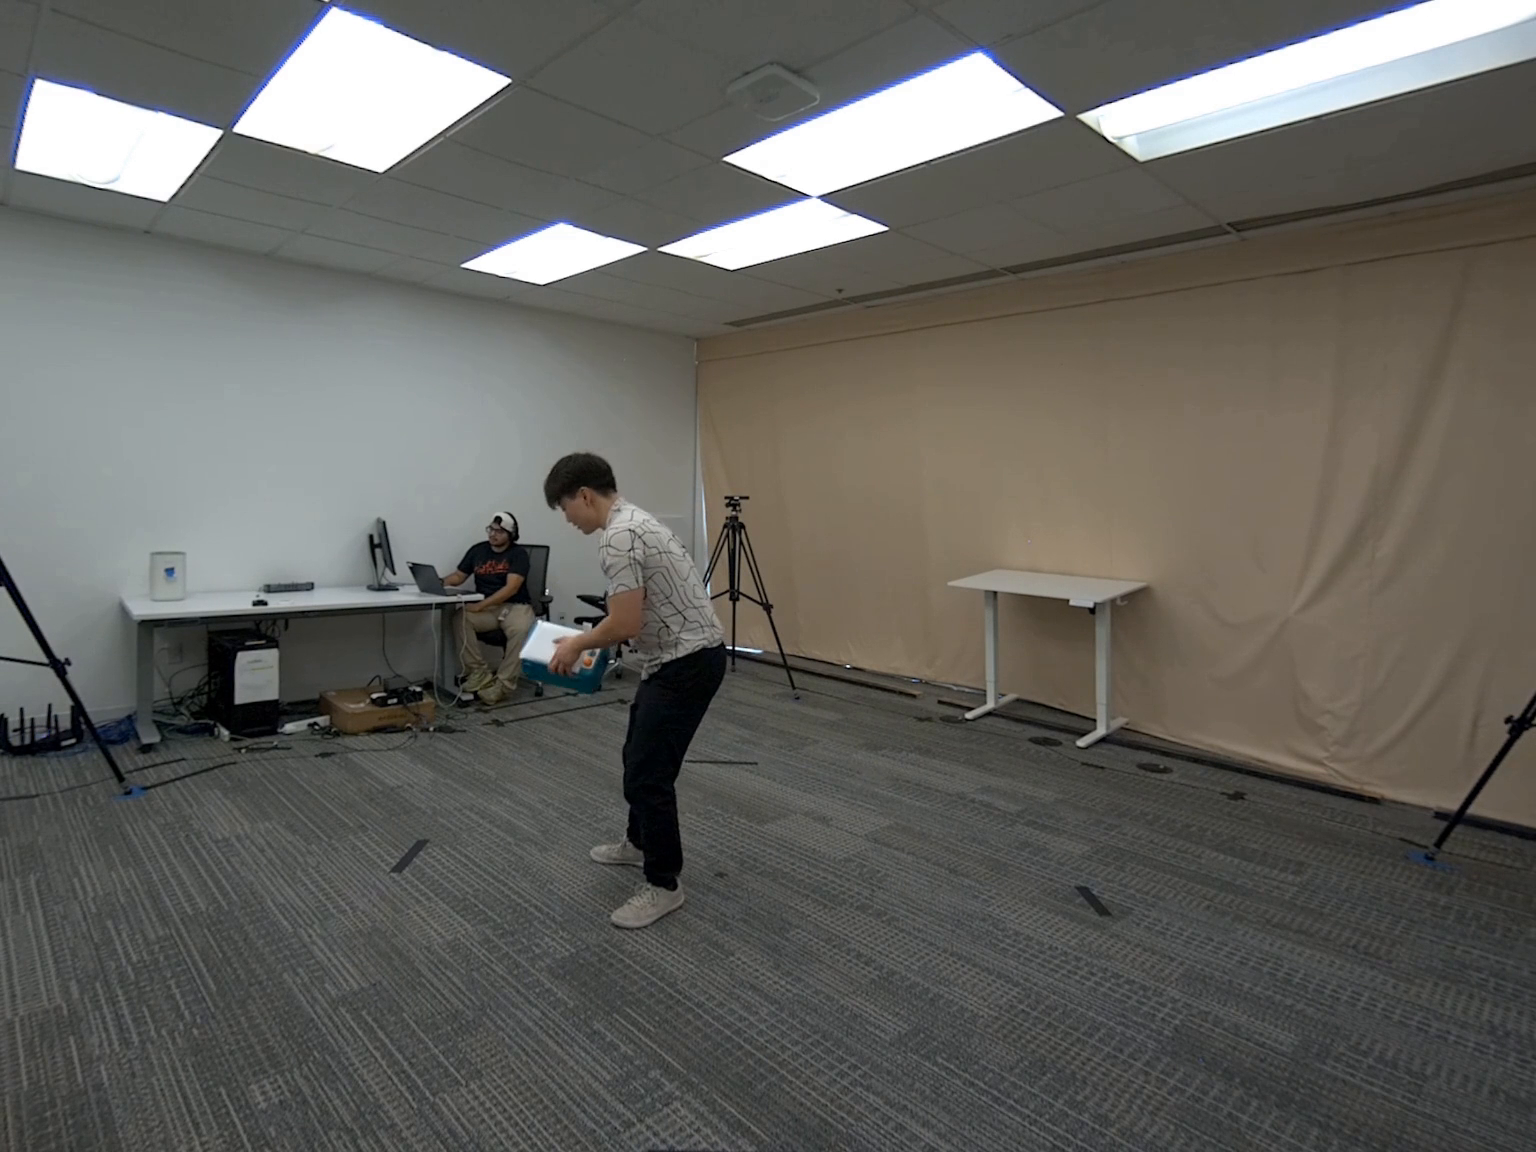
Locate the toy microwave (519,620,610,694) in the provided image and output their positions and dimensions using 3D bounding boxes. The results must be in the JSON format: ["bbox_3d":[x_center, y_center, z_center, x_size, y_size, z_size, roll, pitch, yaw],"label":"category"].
[{"bbox_3d":[-0.715,0.286,2.957,0.288,0.186,0.149,12,-38,7],"label":"toy microwave"}]
